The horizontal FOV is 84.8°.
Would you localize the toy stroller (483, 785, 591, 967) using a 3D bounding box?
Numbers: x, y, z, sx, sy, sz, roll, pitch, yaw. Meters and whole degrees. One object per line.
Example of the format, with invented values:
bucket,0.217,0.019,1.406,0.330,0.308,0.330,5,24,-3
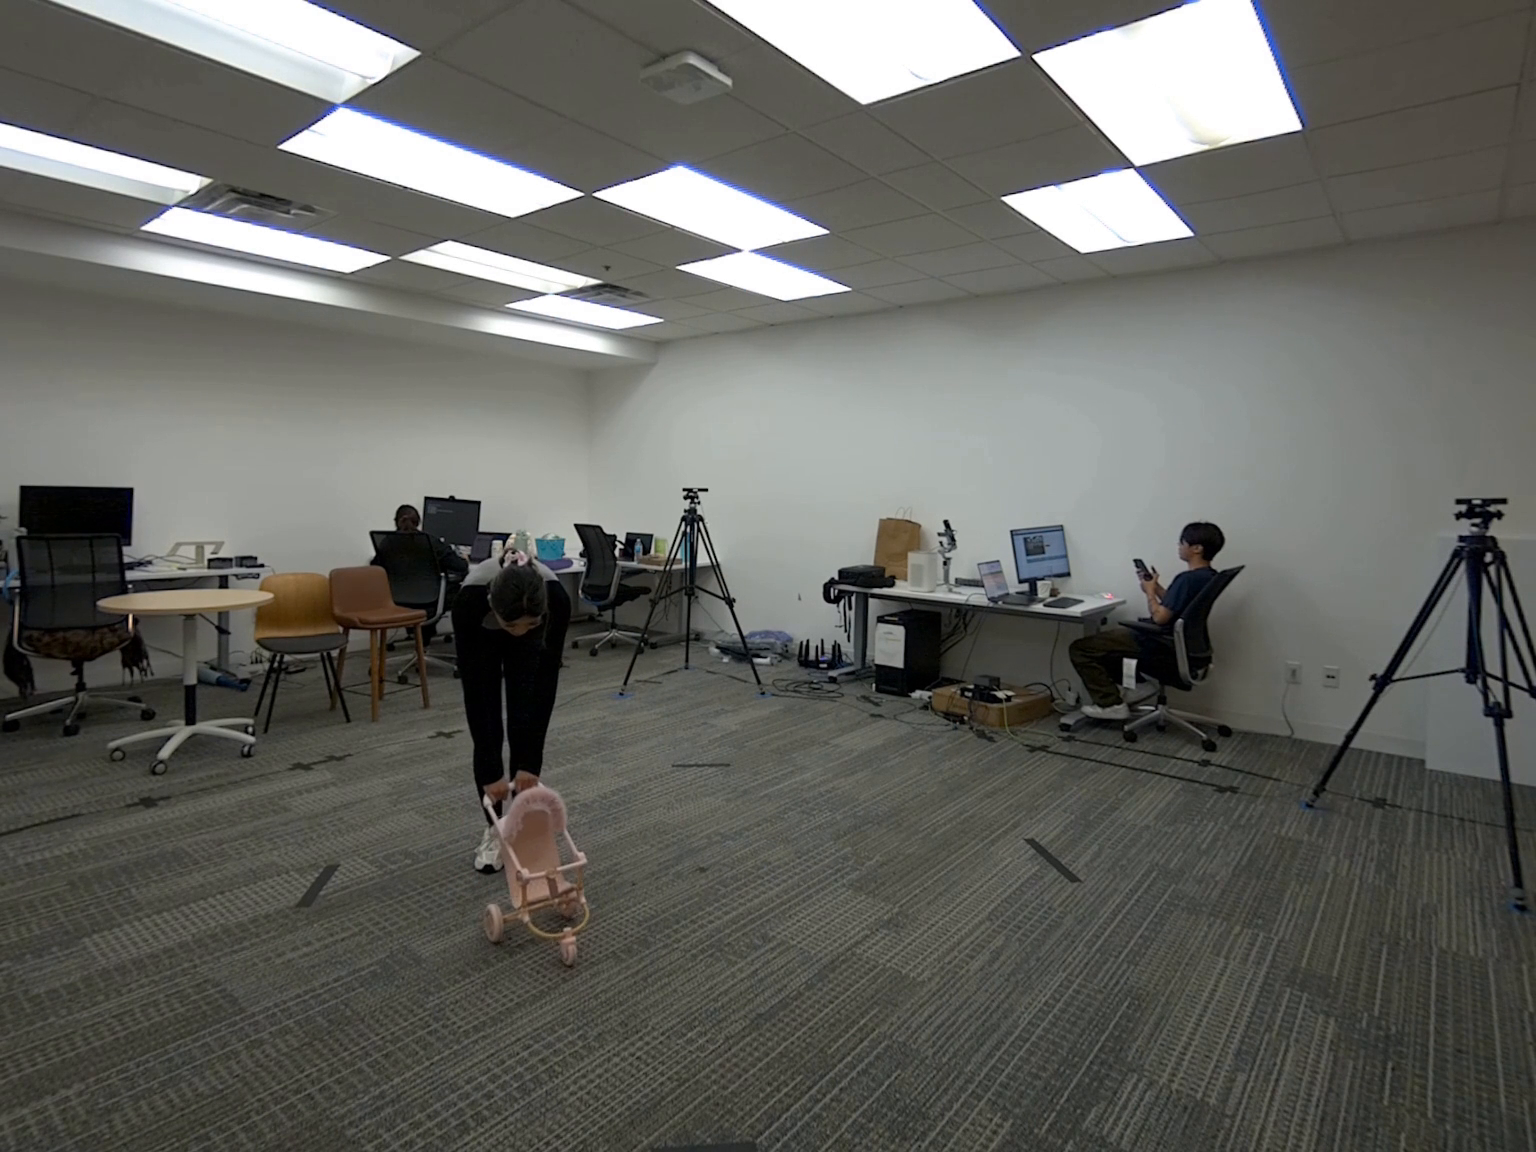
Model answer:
toy stroller,-0.715,0.885,2.622,0.273,0.542,0.347,-2,-13,-36
